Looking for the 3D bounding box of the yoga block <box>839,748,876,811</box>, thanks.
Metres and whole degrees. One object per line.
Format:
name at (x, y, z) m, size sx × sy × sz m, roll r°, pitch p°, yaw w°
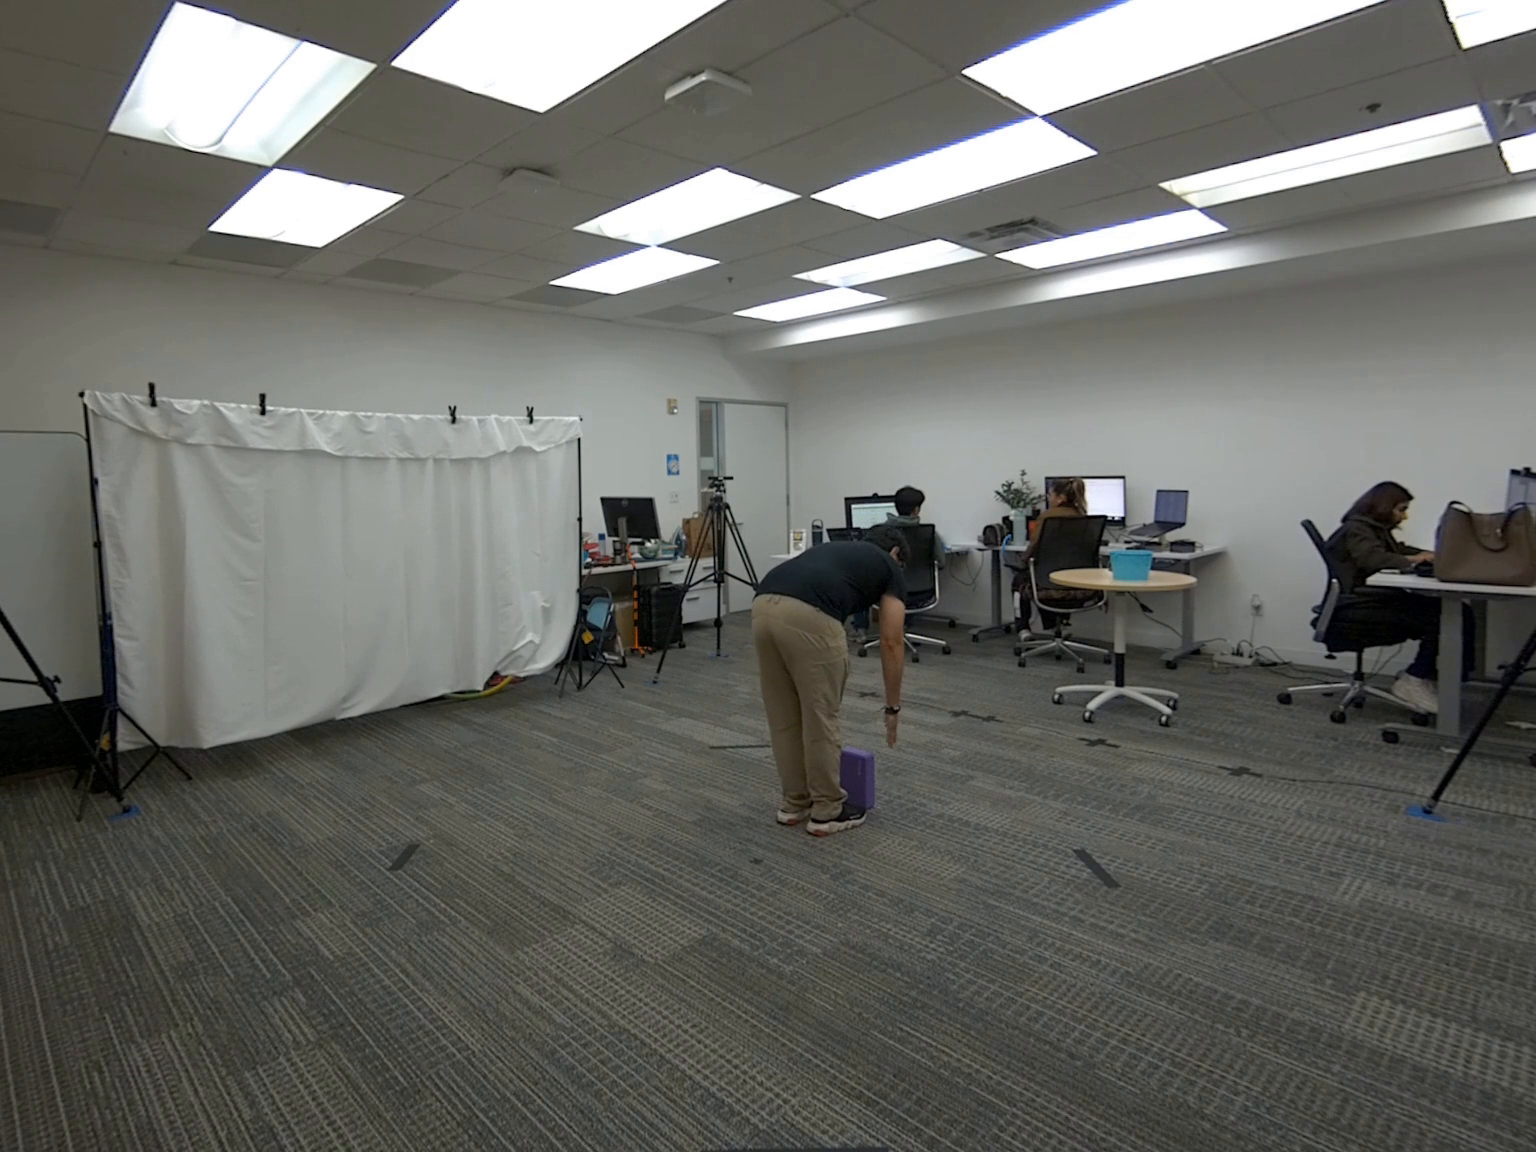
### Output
yoga block at (0.375, 0.848, 3.619) m, size 0.074 × 0.228 × 0.153 m, roll -8°, pitch 7°, yaw -41°
